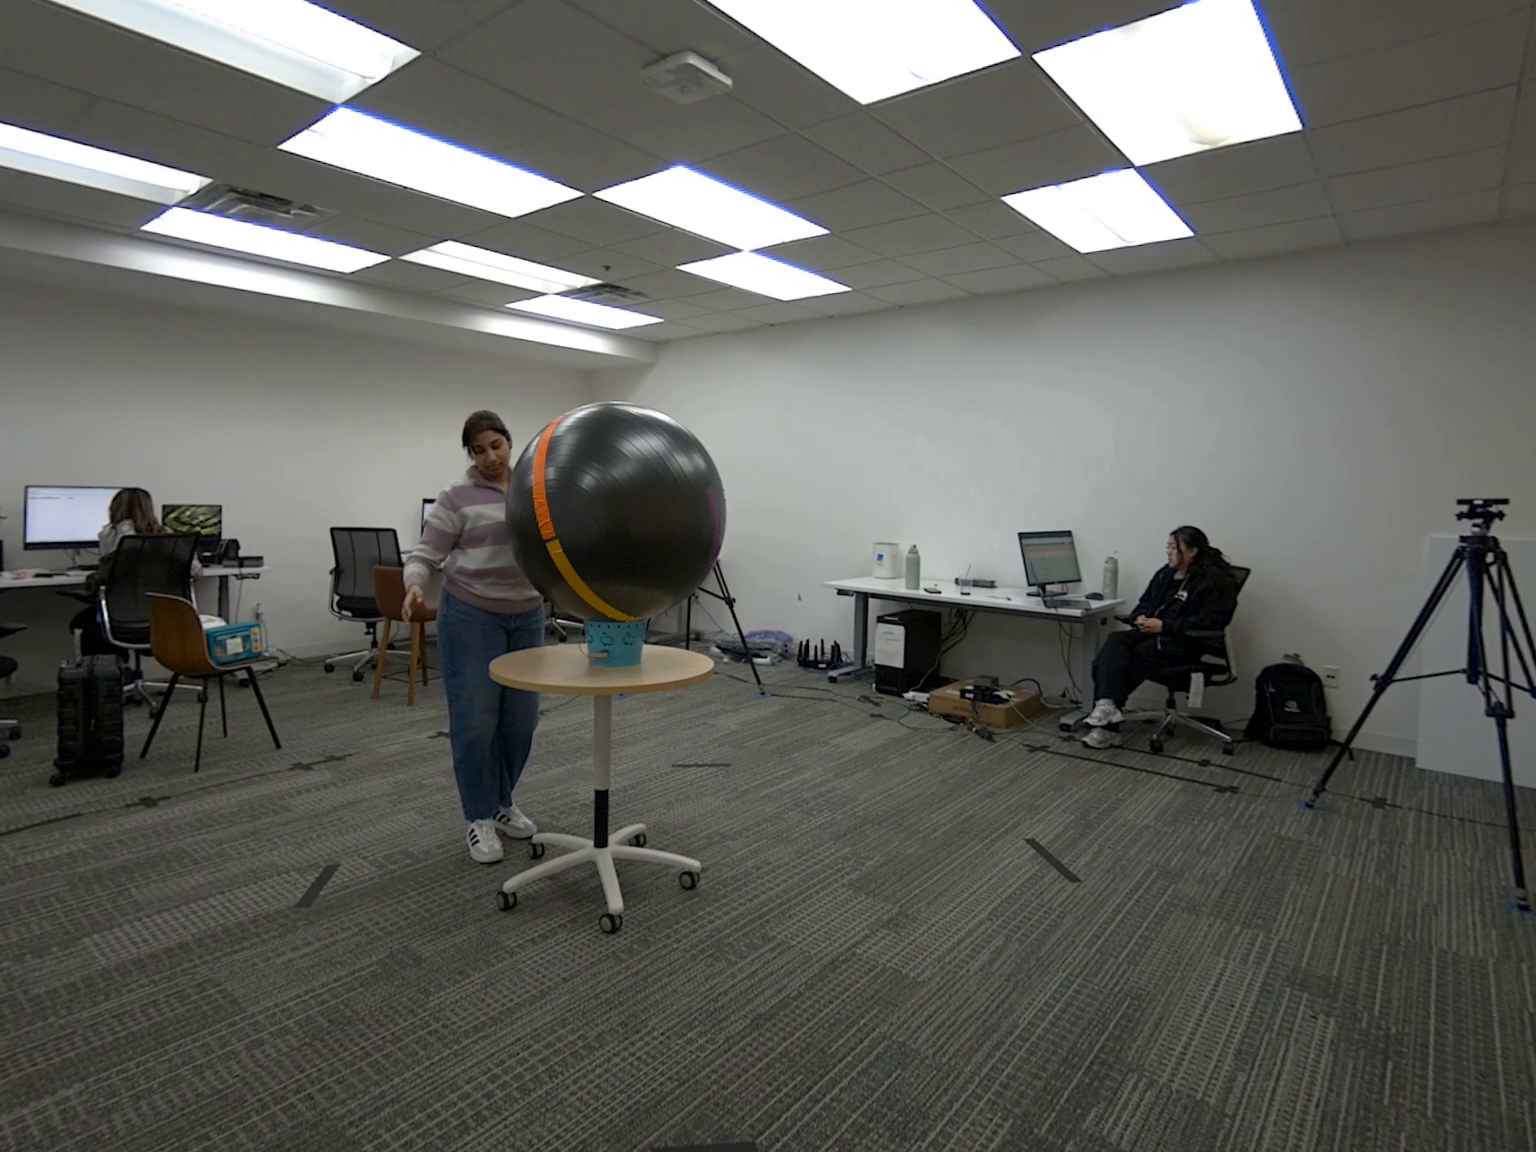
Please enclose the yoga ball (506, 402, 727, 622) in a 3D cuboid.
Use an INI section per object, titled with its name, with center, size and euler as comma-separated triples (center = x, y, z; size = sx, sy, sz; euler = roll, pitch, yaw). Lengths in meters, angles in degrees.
[yoga ball]
center = -0.531, -0.214, 2.929
size = 0.757, 0.755, 0.762
euler = 1, 4, -2
